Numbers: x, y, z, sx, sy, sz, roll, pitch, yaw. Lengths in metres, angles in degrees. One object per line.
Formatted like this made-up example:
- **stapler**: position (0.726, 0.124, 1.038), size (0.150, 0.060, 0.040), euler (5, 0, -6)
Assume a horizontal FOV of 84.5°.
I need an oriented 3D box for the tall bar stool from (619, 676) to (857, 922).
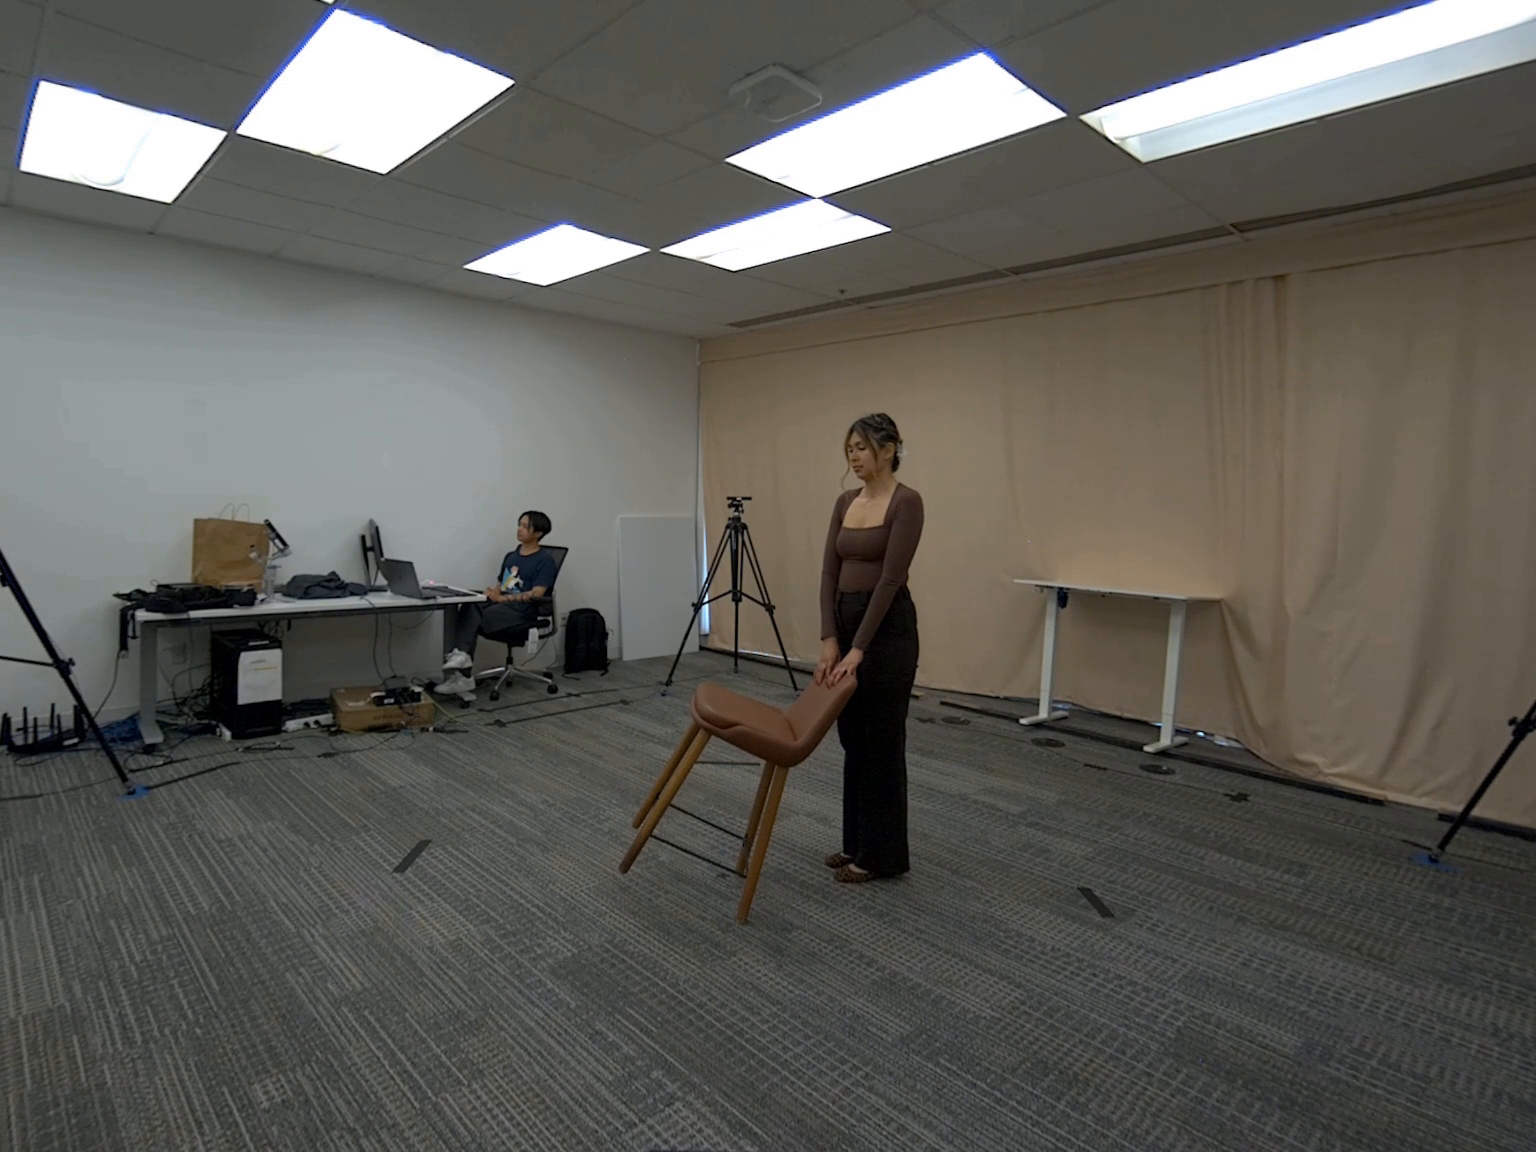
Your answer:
- **tall bar stool**: position (-0.104, 0.643, 2.904), size (0.467, 0.889, 0.458), euler (26, 3, -3)
